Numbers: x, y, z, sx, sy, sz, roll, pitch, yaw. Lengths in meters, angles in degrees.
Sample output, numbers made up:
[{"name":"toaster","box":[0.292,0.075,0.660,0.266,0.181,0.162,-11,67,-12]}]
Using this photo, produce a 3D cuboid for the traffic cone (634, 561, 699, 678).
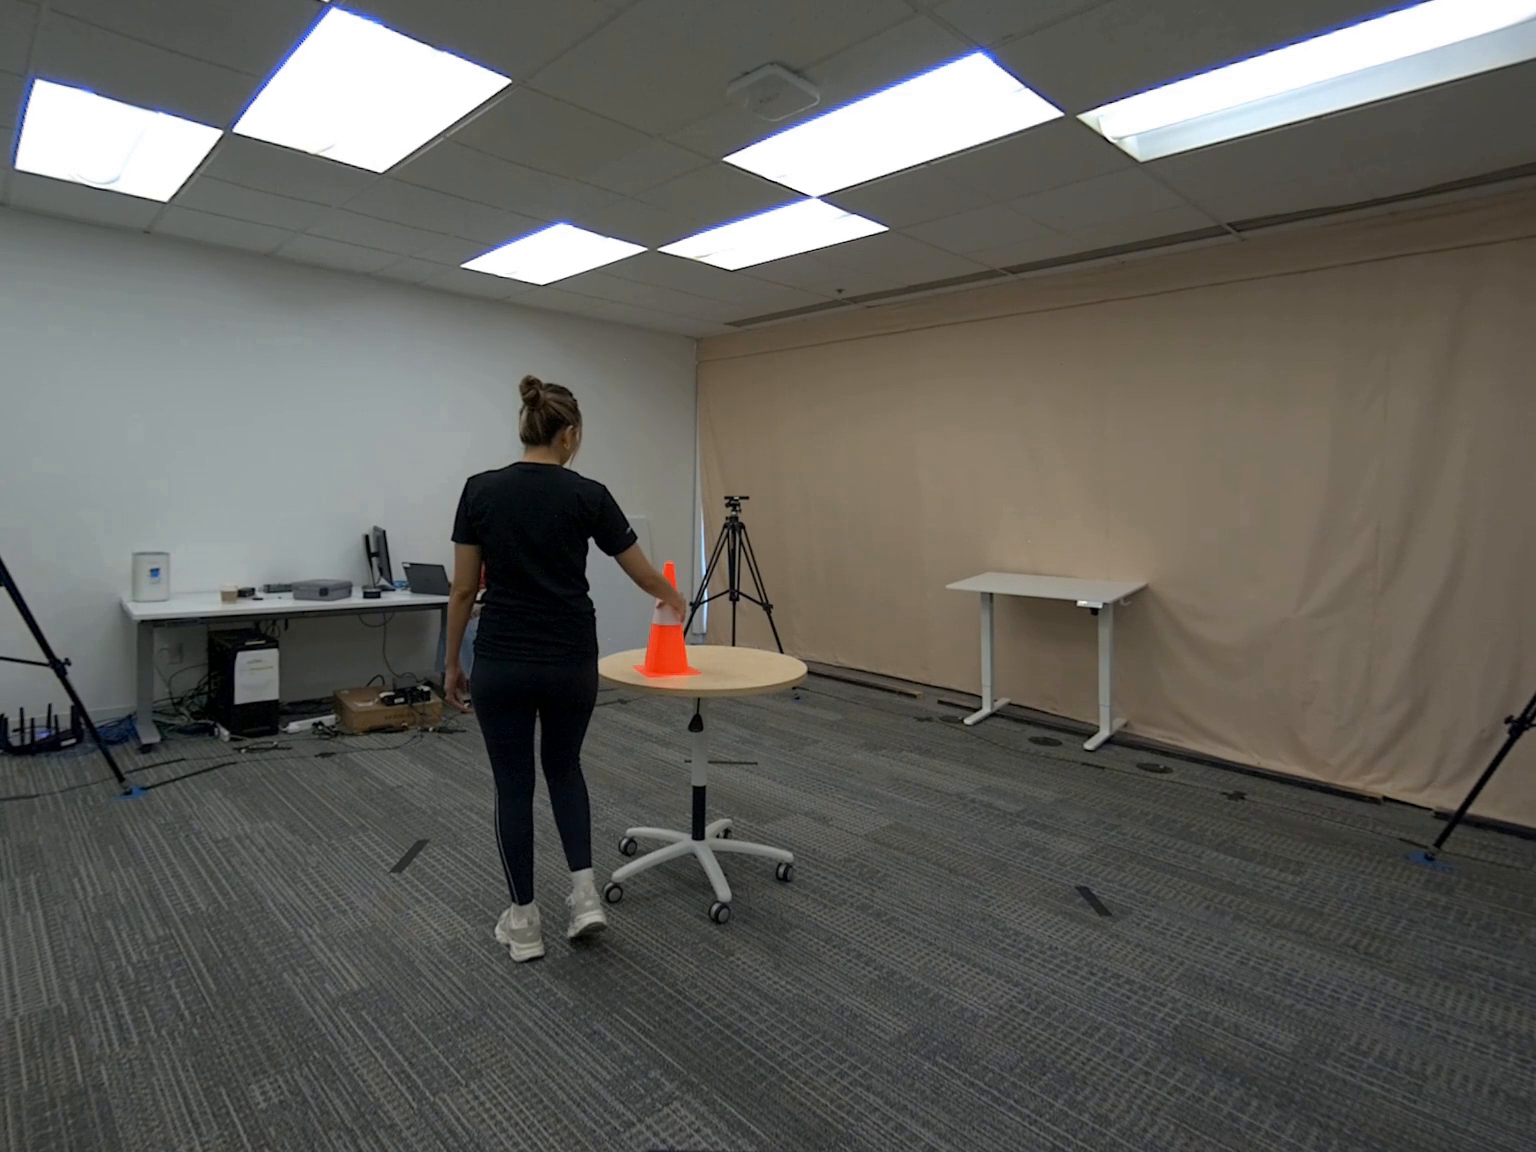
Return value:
[{"name":"traffic cone","box":[-0.359,0.146,2.927,0.199,0.382,0.210,-4,8,-44]}]
